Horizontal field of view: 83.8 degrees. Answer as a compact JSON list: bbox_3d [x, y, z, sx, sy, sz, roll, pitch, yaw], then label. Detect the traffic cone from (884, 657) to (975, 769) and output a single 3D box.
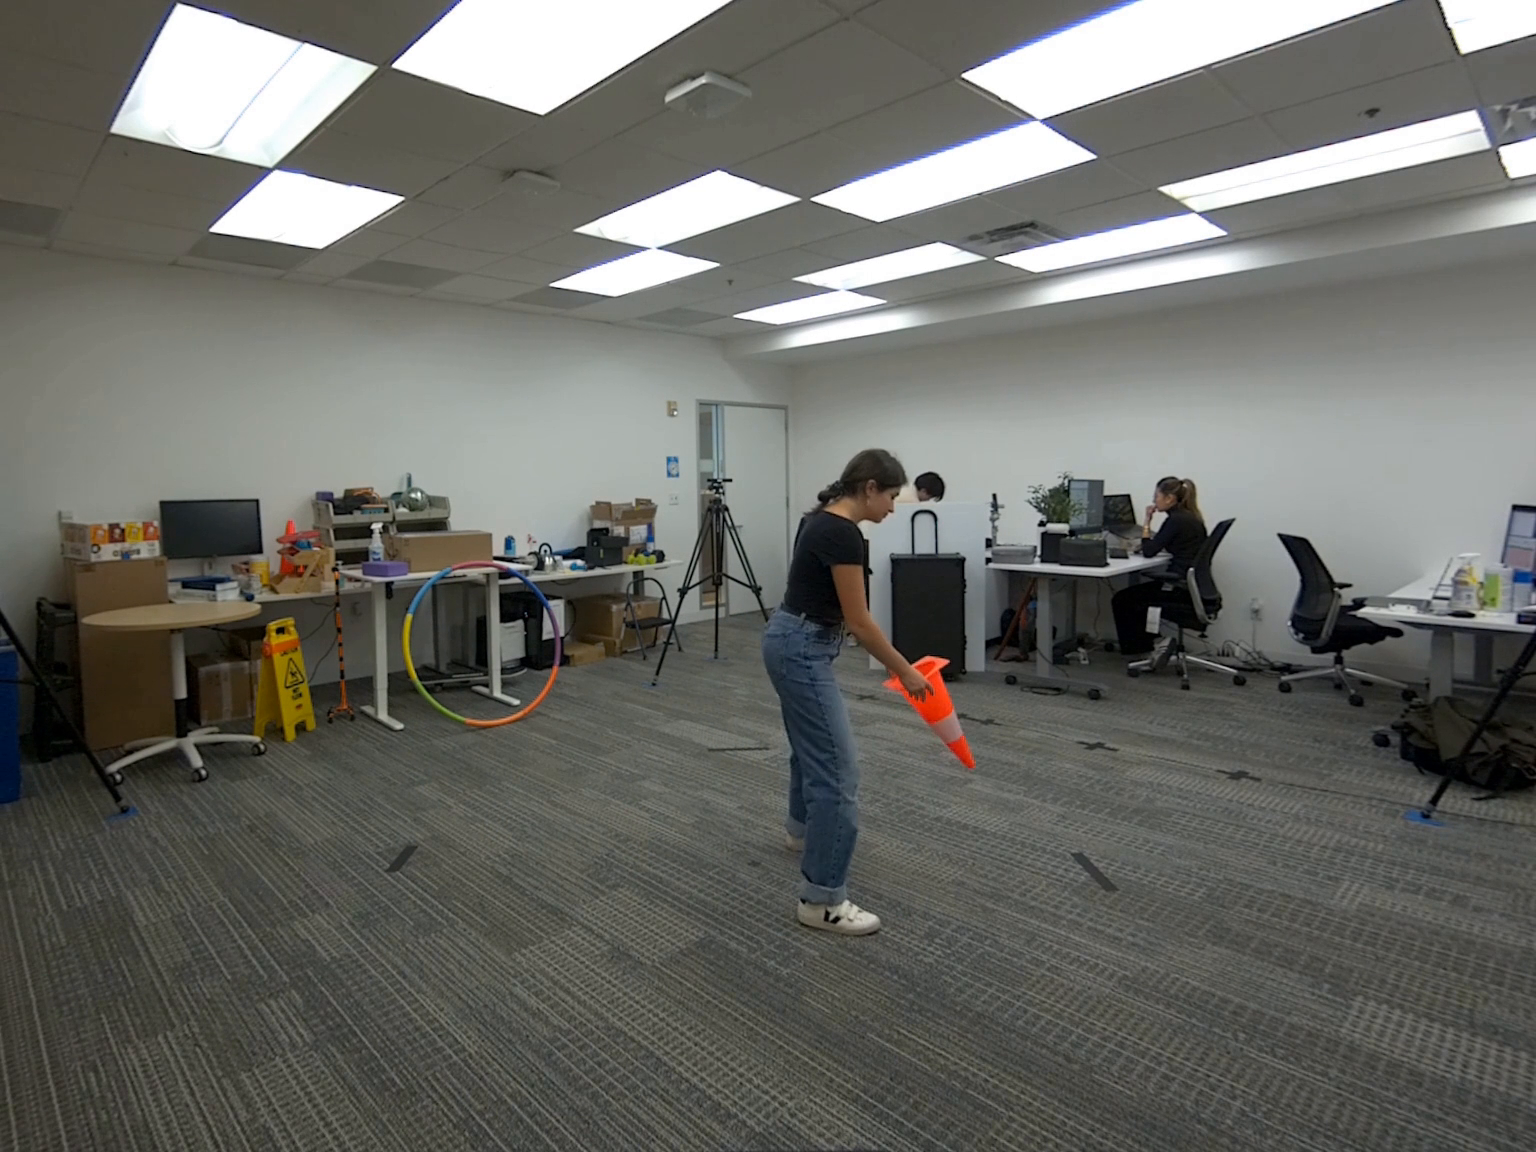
[{"bbox_3d":[0.601,0.505,2.927,0.204,0.381,0.206,-35,6,-16],"label":"traffic cone"}]
